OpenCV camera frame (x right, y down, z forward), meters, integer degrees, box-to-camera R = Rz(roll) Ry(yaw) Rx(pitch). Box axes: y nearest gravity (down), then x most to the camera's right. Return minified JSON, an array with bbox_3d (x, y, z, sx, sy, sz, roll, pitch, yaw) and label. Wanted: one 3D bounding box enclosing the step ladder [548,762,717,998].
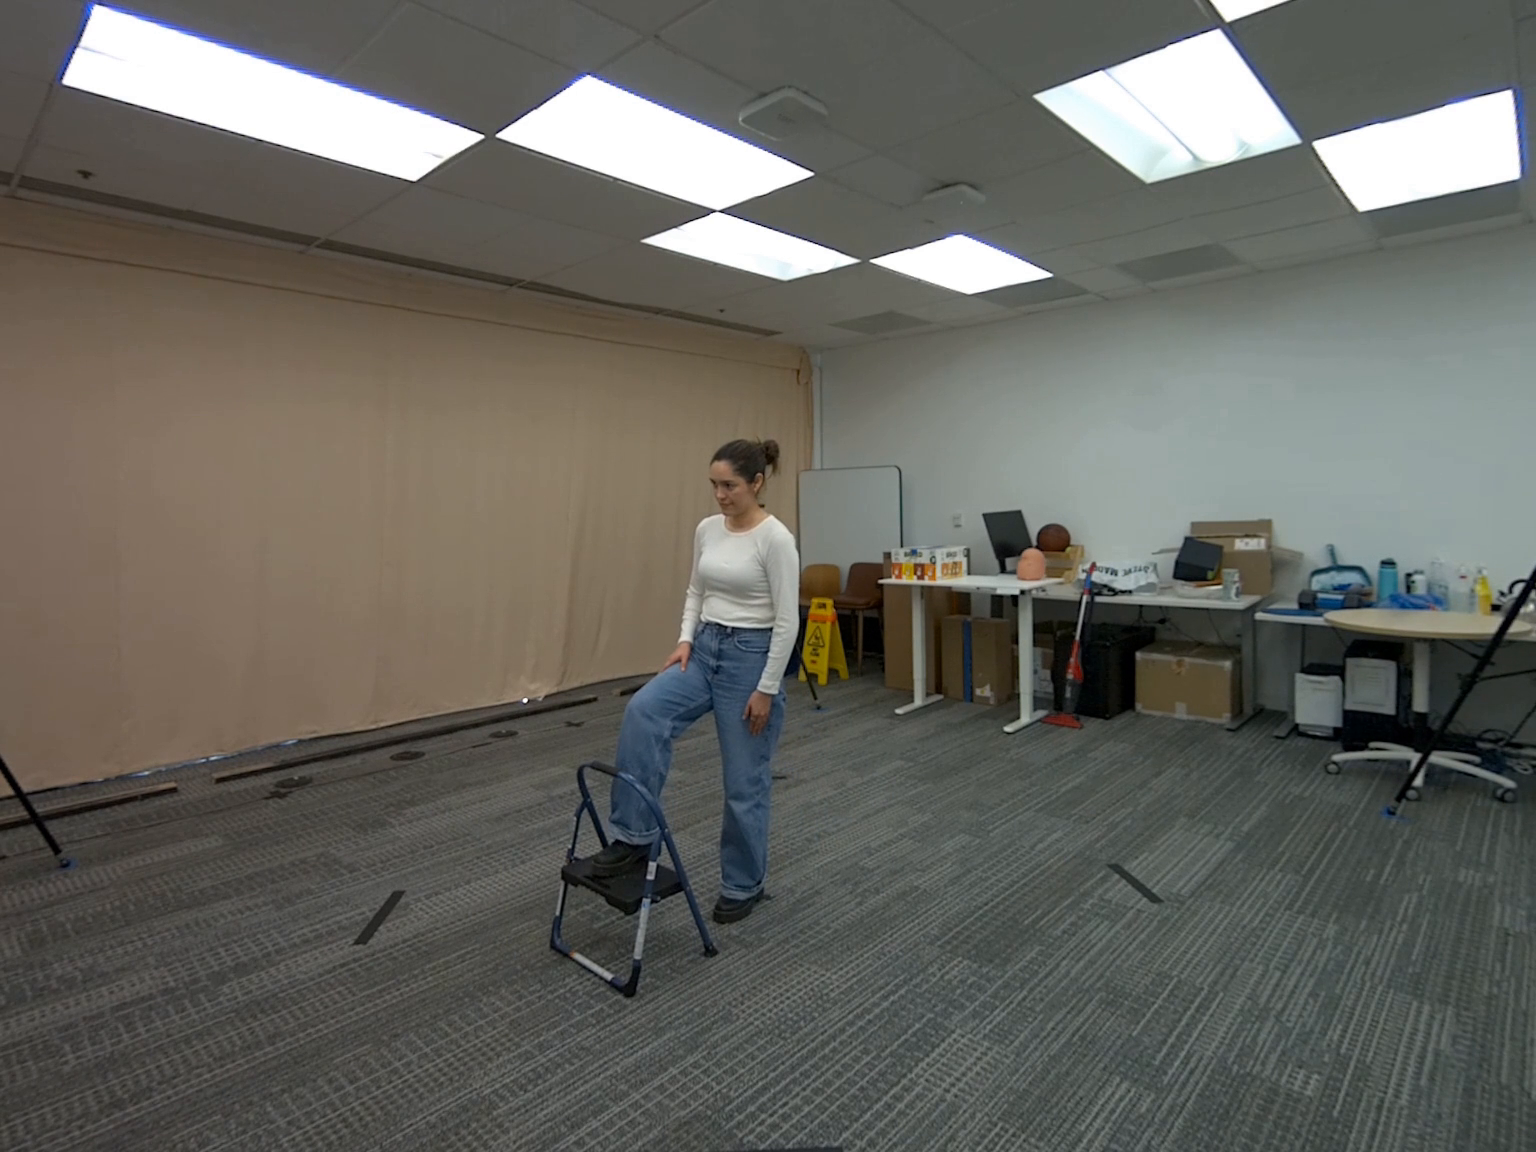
[{"bbox_3d":[-0.433,0.877,2.631,0.445,0.605,0.339,2,4,43],"label":"step ladder"}]
